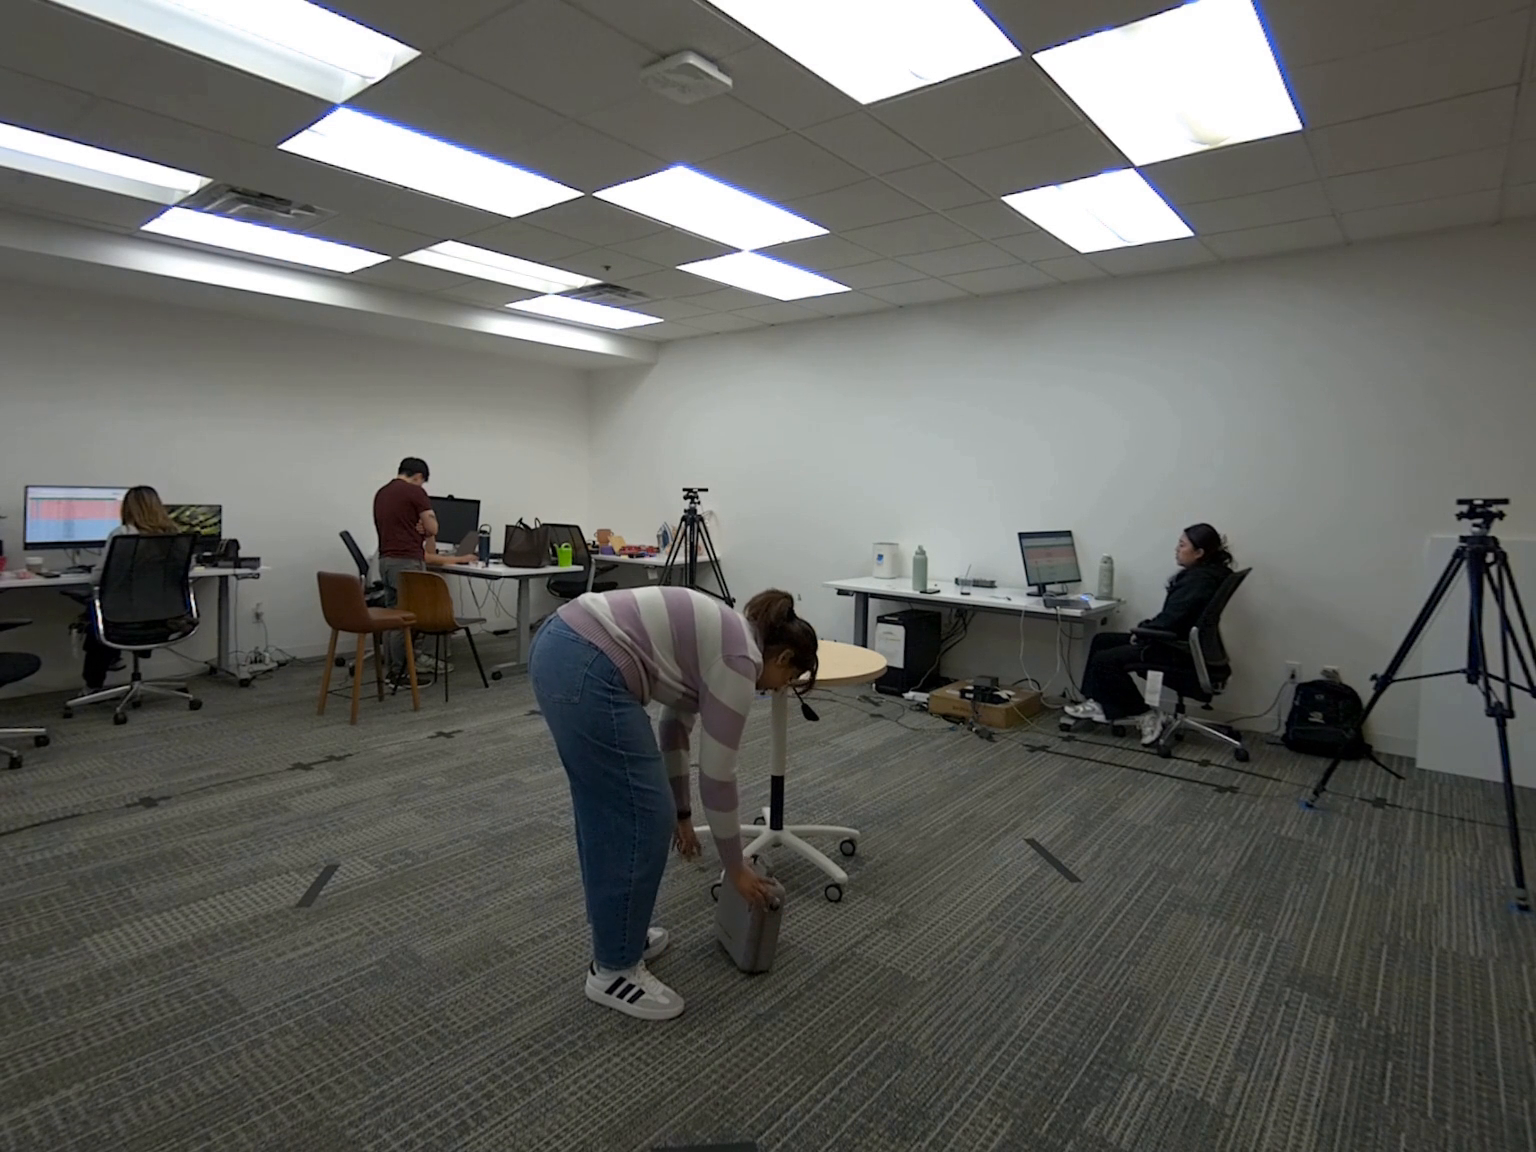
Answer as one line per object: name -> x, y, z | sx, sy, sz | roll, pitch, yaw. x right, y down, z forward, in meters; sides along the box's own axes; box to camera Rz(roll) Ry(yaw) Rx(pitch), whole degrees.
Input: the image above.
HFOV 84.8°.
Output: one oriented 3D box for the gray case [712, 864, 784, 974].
gray case -> -0.065, 0.998, 2.541 | 0.101, 0.260, 0.264 | 9, 1, -25
